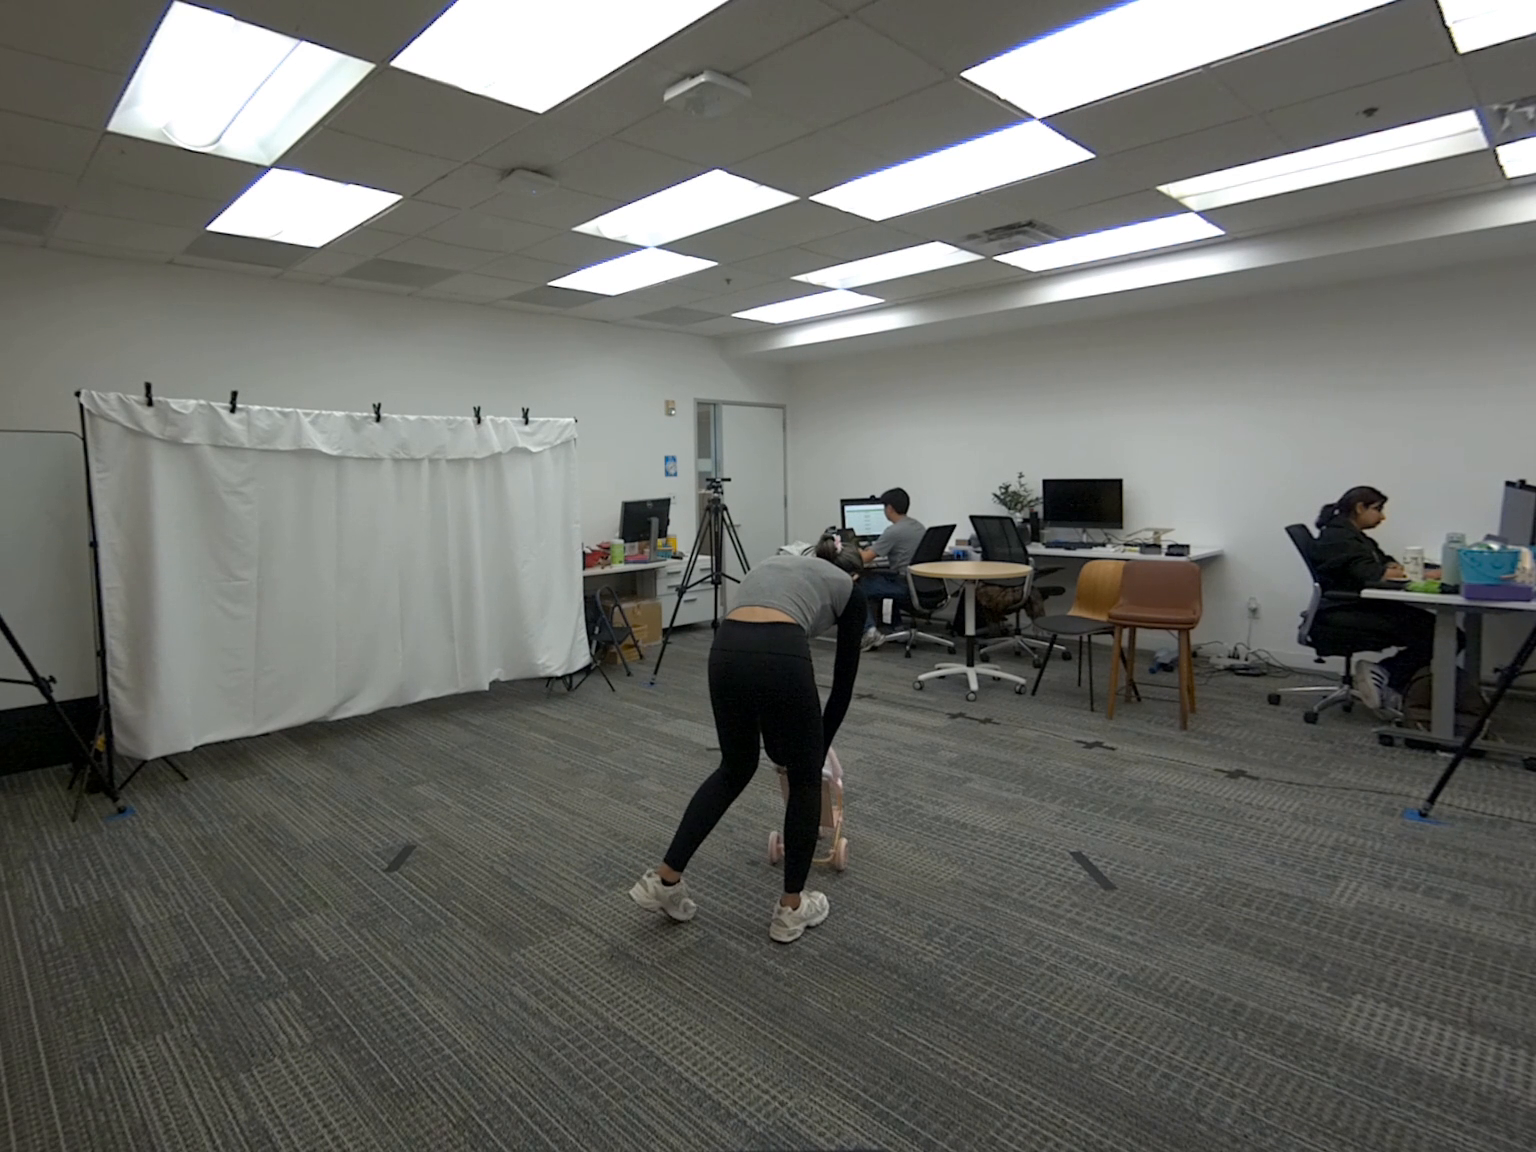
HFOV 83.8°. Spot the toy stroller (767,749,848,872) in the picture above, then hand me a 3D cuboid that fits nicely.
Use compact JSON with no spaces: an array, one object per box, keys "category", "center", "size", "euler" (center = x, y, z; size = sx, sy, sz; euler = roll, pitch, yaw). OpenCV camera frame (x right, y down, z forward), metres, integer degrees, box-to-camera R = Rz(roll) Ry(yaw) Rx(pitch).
[{"category":"toy stroller","center":[0.162,0.815,3.121],"size":[0.287,0.525,0.342],"euler":[2,22,18]}]
